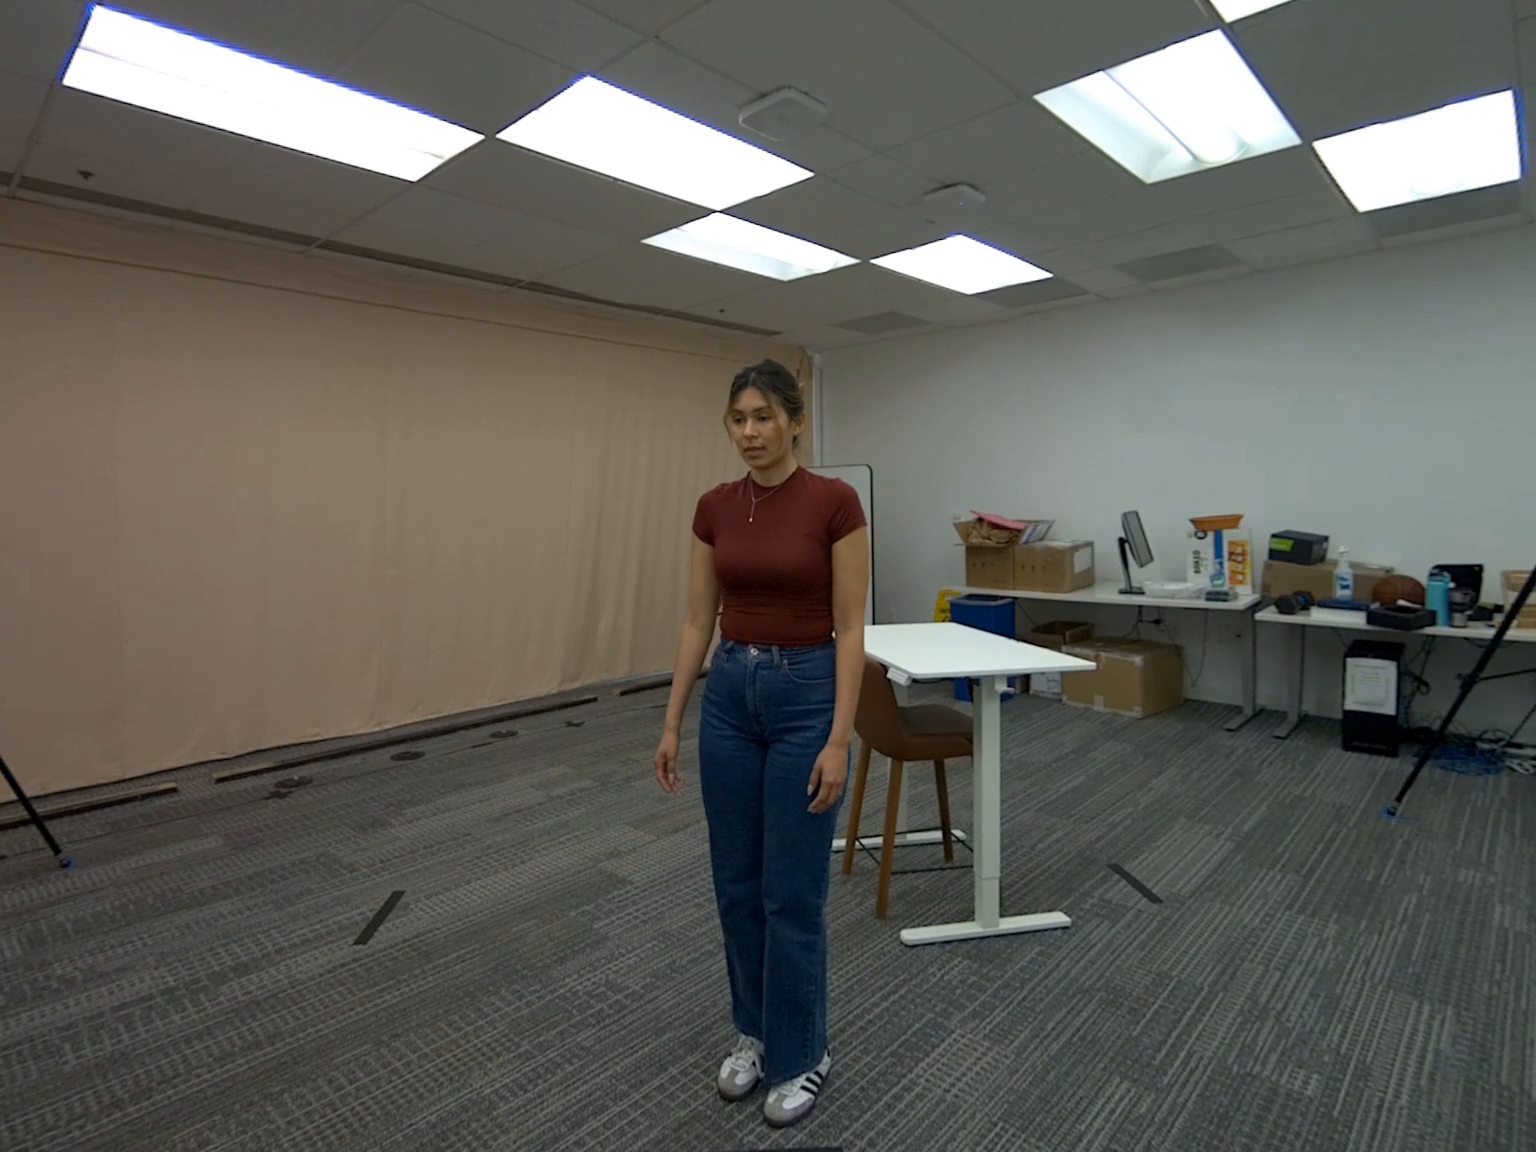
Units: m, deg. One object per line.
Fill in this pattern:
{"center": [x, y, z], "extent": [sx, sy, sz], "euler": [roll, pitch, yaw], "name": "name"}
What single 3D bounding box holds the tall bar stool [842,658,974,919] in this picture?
{"center": [0.531, 0.702, 3.004], "extent": [0.462, 0.887, 0.463], "euler": [-3, 5, -11], "name": "tall bar stool"}
